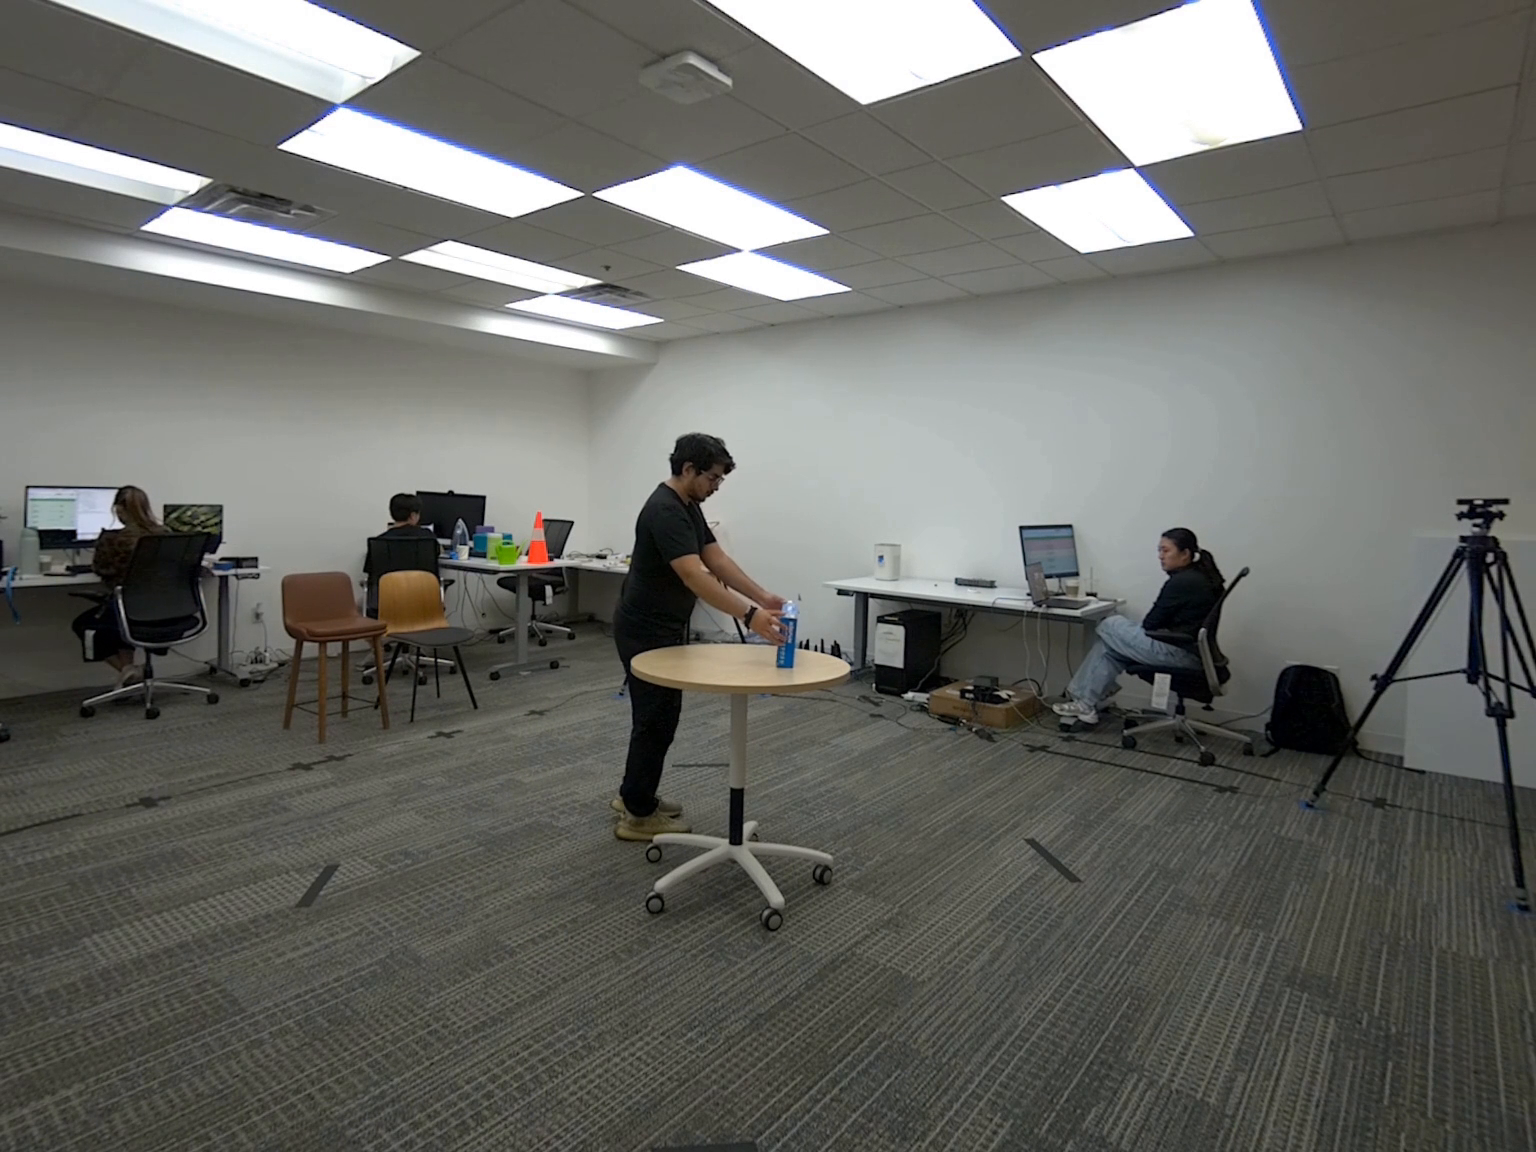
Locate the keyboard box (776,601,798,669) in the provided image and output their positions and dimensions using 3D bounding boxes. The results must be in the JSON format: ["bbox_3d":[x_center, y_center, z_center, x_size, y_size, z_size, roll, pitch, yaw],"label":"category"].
[{"bbox_3d":[0.064,0.204,3.107,0.059,0.175,0.436,4,5,2],"label":"keyboard box"}]
